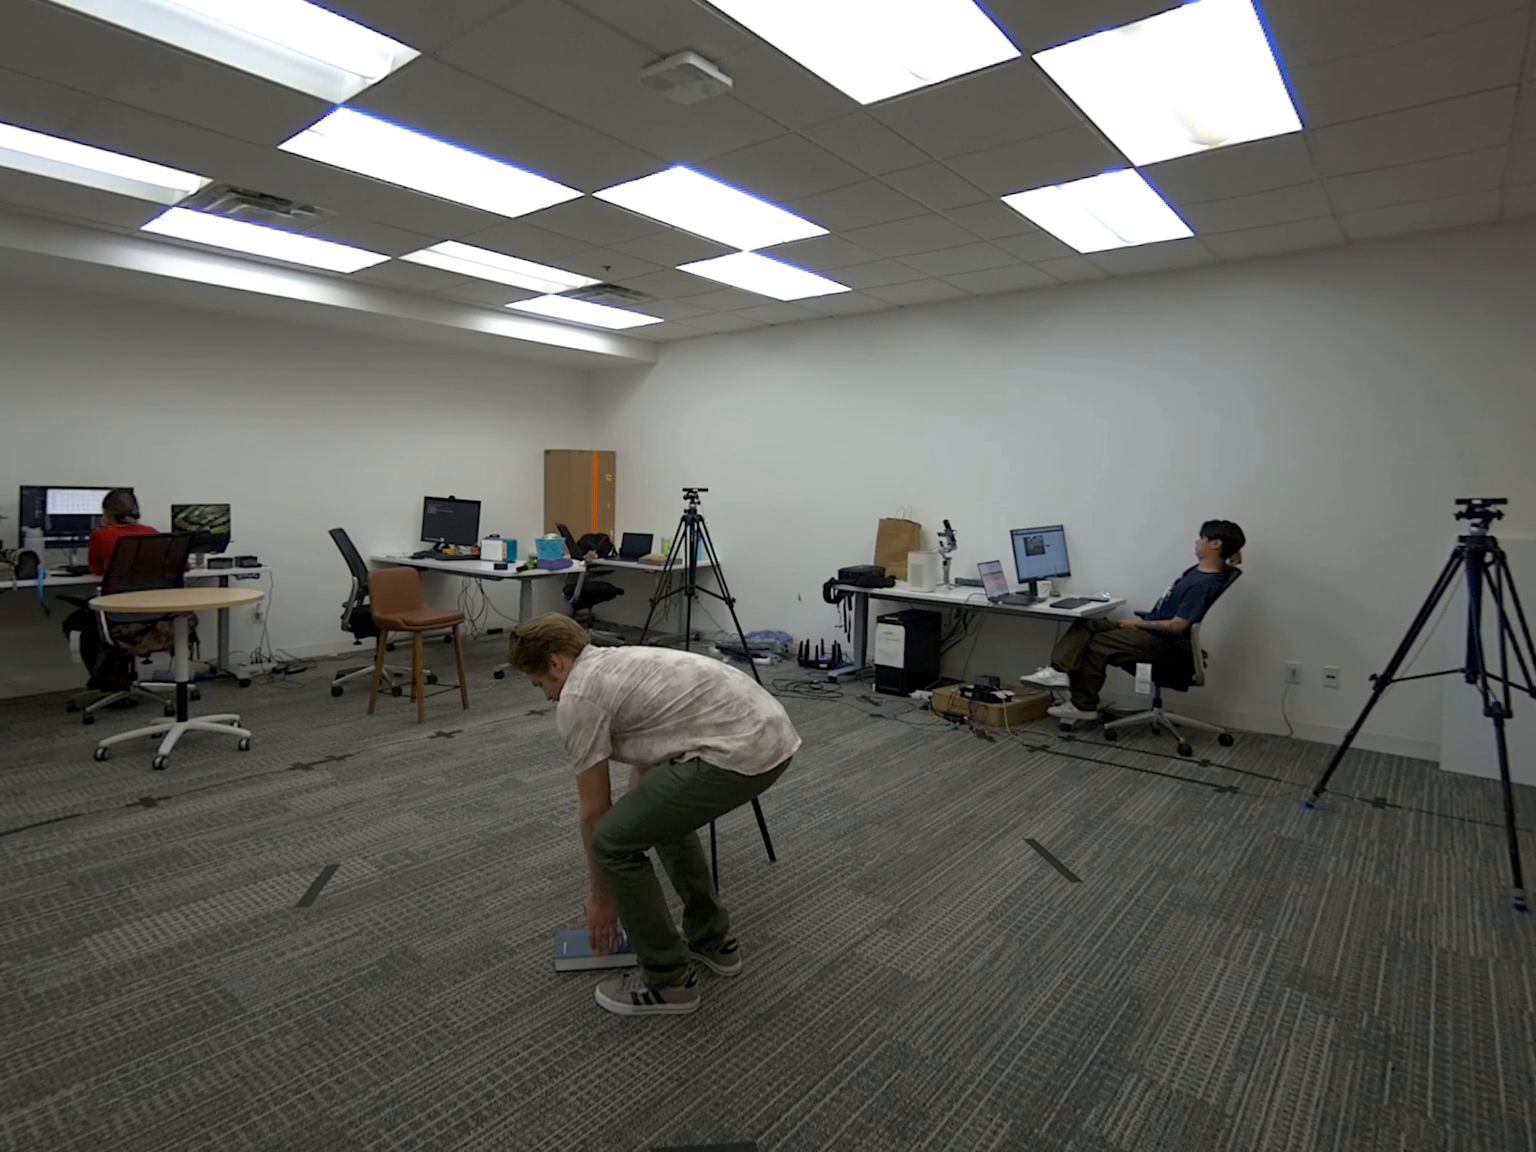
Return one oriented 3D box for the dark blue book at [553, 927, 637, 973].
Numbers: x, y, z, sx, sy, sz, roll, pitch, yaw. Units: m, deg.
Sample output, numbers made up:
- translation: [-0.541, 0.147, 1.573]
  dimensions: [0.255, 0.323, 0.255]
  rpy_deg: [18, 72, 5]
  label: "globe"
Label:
- translation: [-0.511, 1.096, 2.520]
  dimensions: [0.243, 0.045, 0.165]
  rpy_deg: [0, 5, -9]
  label: "dark blue book"
